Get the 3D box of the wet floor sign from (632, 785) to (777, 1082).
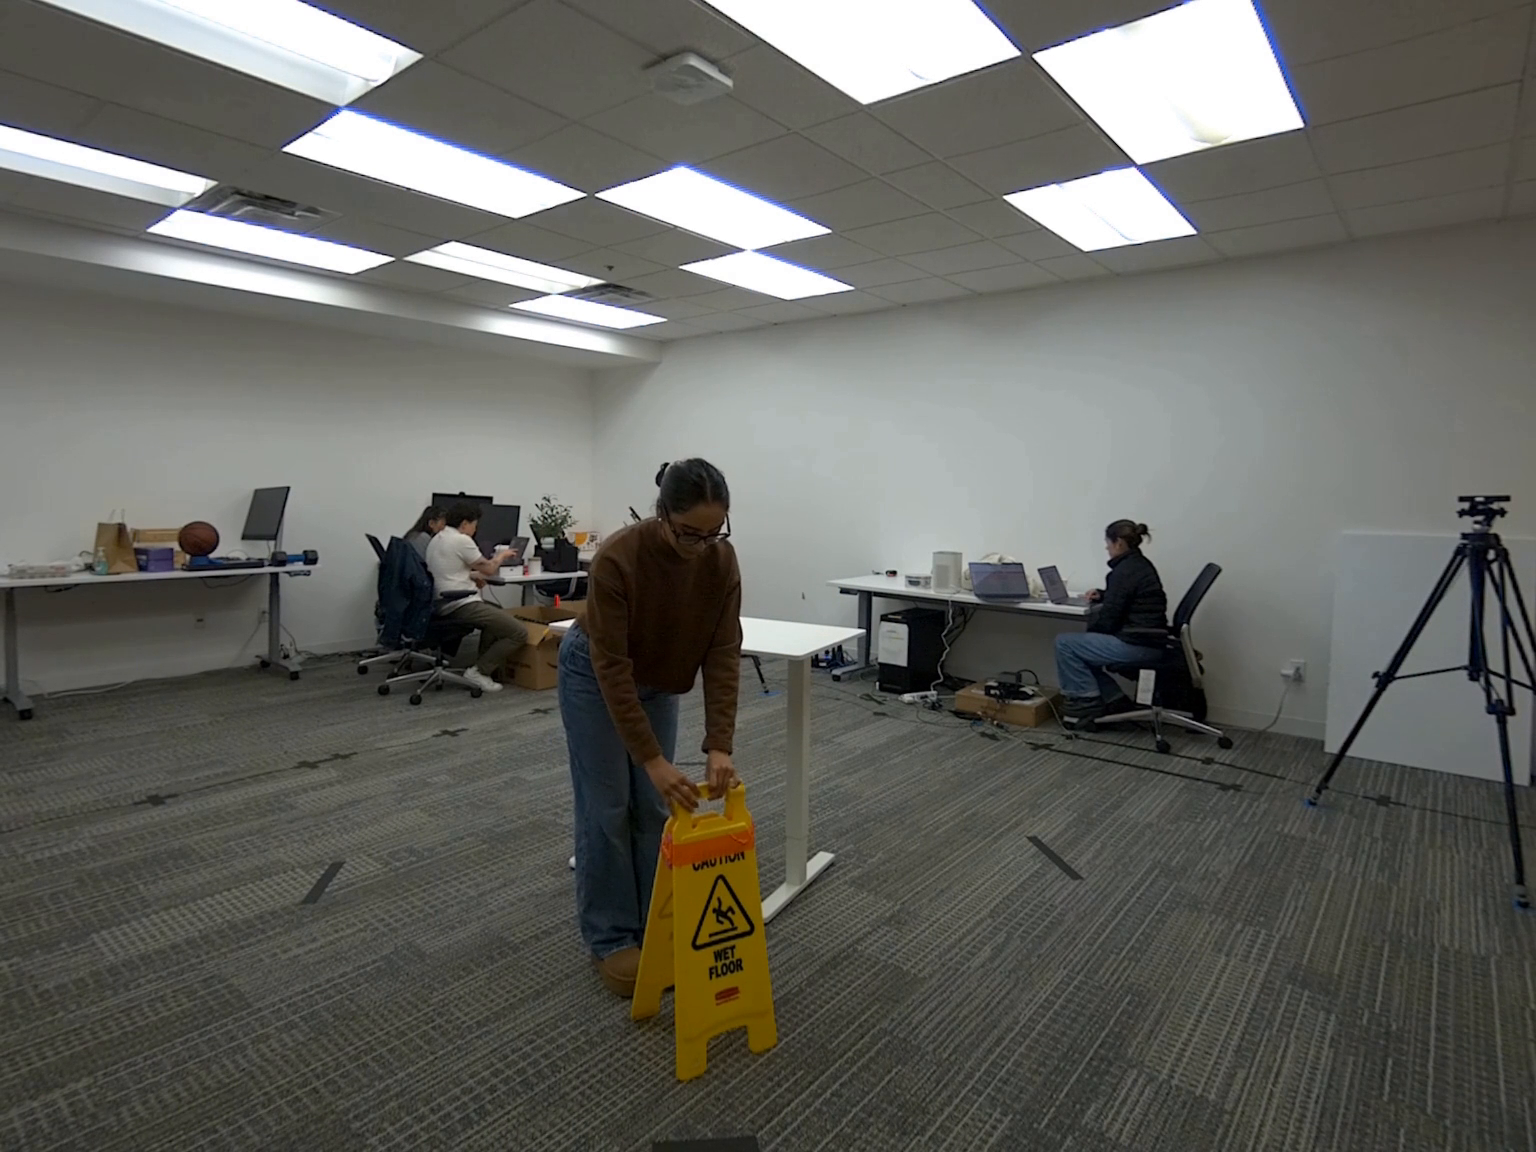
[{"bbox_3d":[-0.165,0.836,2.152,0.274,0.644,0.299,0,4,-32],"label":"wet floor sign"}]
